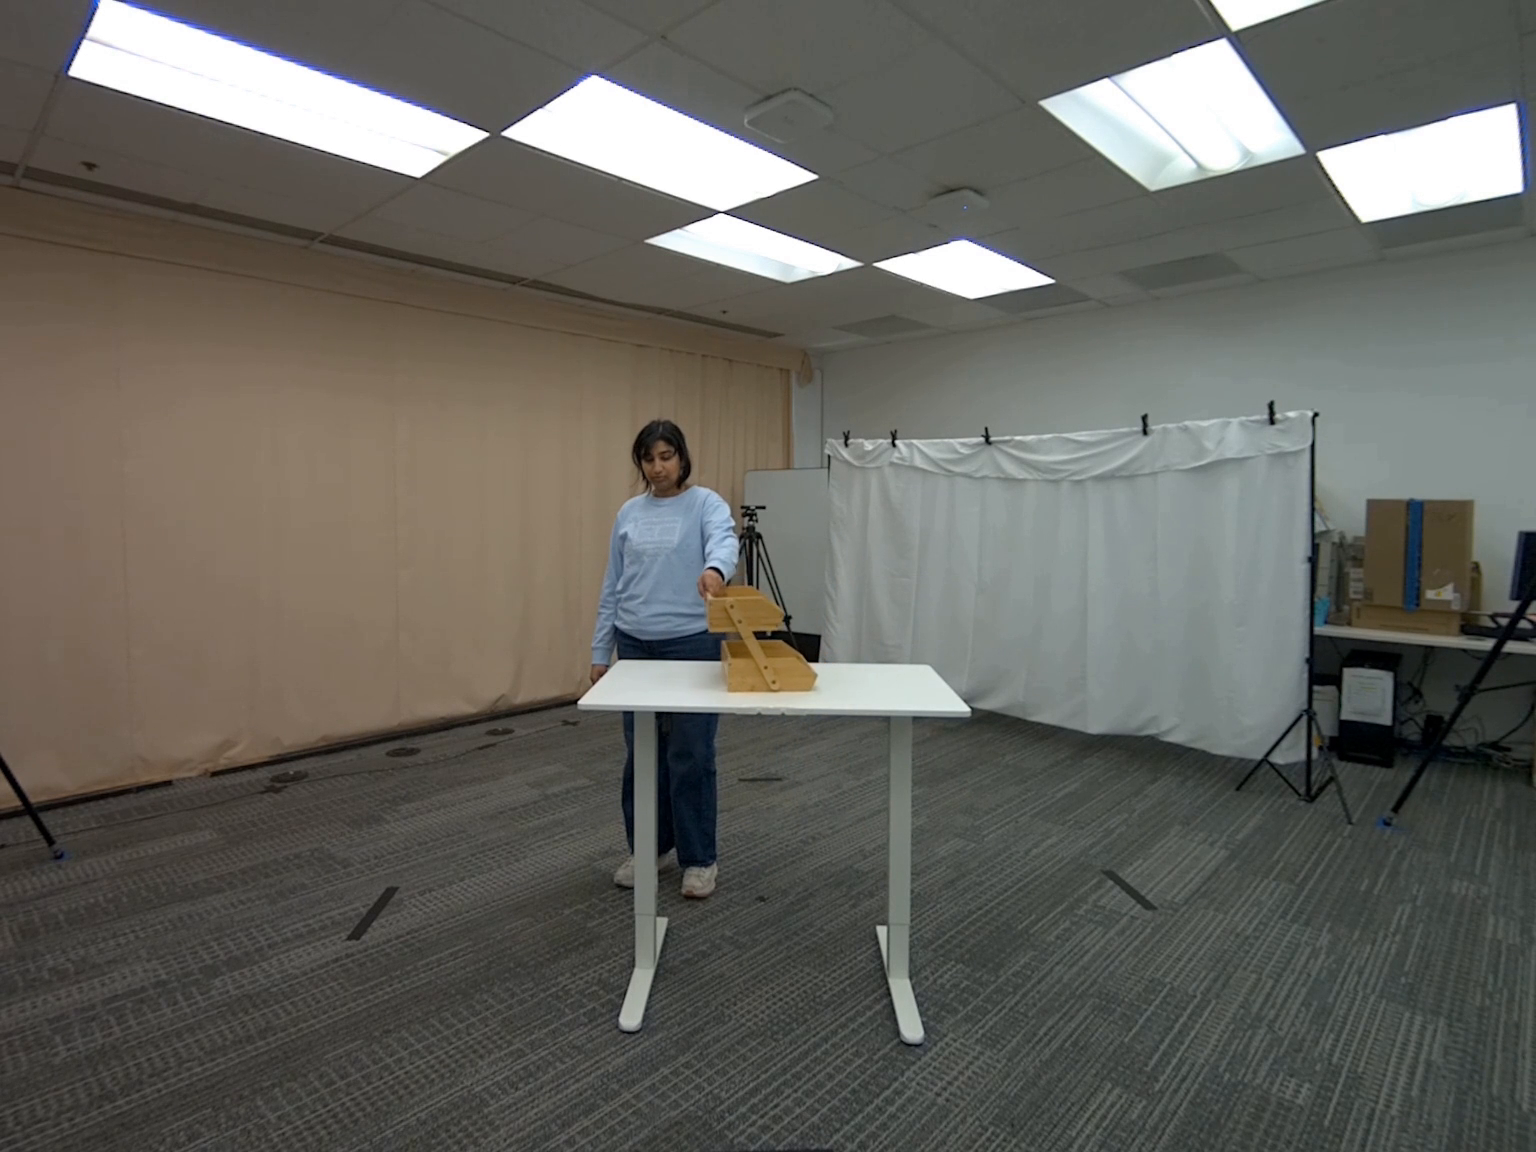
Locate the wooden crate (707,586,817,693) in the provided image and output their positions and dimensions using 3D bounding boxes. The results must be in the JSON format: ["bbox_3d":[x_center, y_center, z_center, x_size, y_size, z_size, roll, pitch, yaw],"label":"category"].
[{"bbox_3d":[-0.023,0.176,2.444,0.301,0.272,0.327,-1,4,-5],"label":"wooden crate"}]
